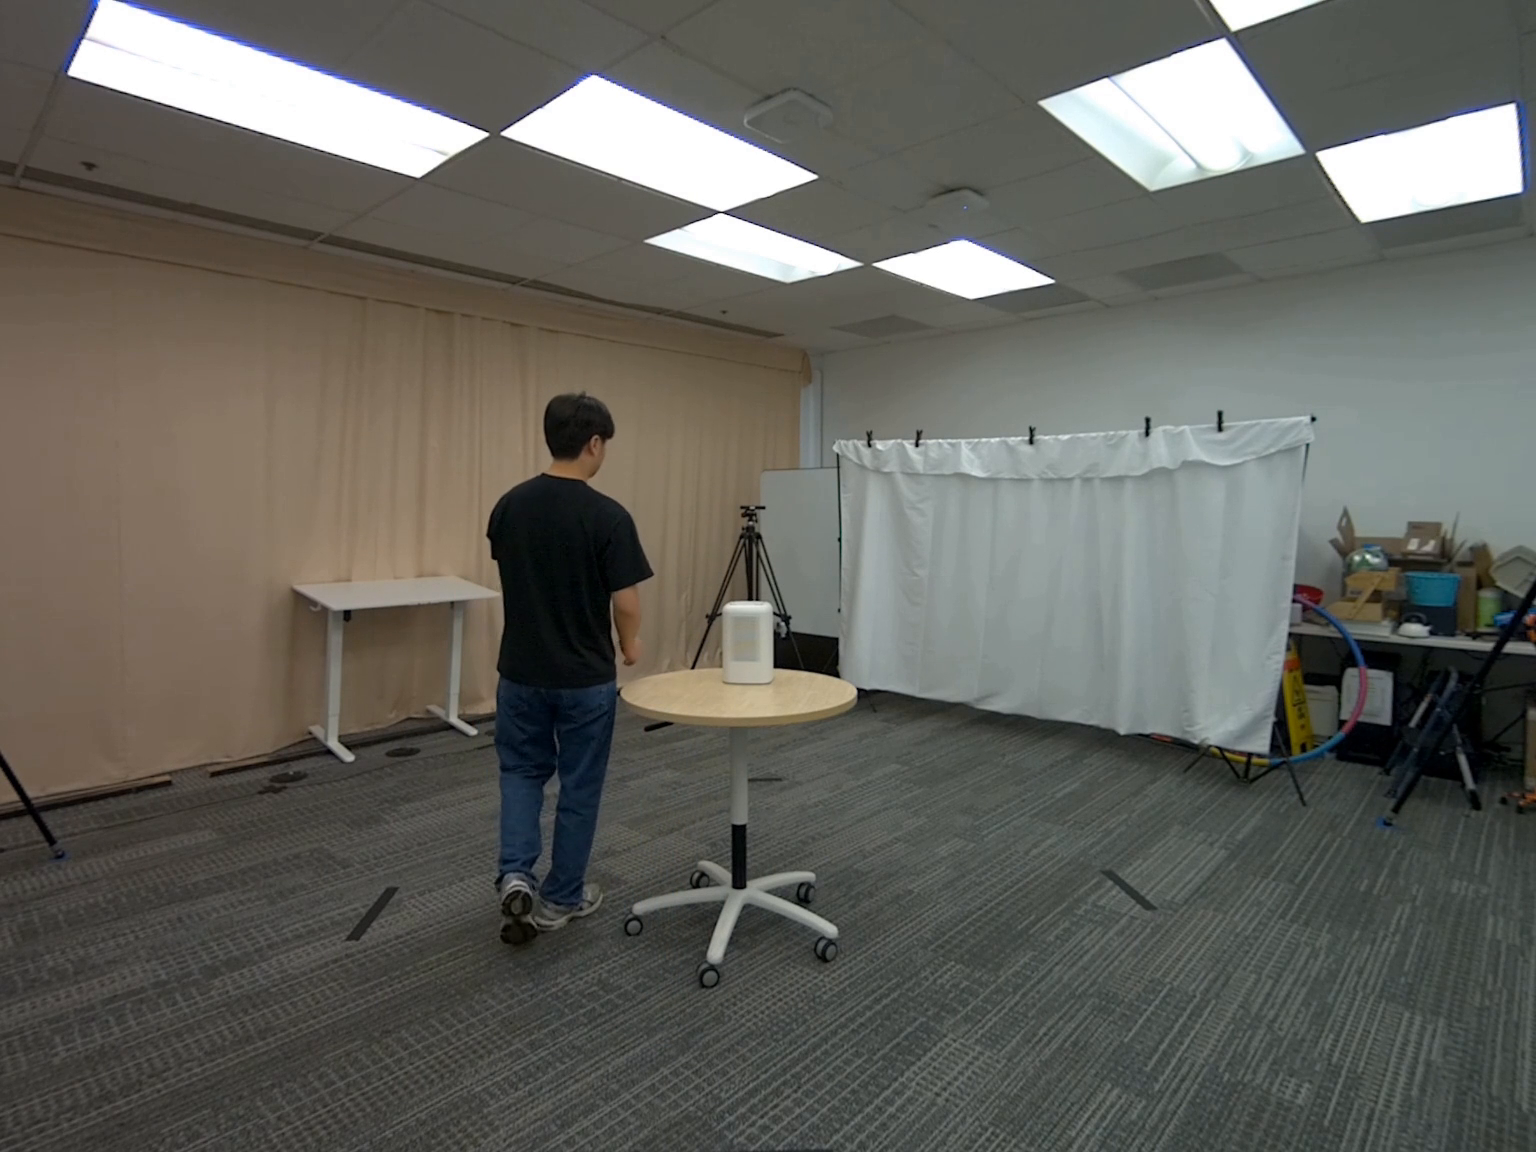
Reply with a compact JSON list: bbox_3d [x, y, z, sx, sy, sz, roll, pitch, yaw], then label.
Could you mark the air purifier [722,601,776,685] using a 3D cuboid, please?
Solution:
[{"bbox_3d":[-0.064,0.228,2.874,0.172,0.265,0.171,0,4,2],"label":"air purifier"}]
